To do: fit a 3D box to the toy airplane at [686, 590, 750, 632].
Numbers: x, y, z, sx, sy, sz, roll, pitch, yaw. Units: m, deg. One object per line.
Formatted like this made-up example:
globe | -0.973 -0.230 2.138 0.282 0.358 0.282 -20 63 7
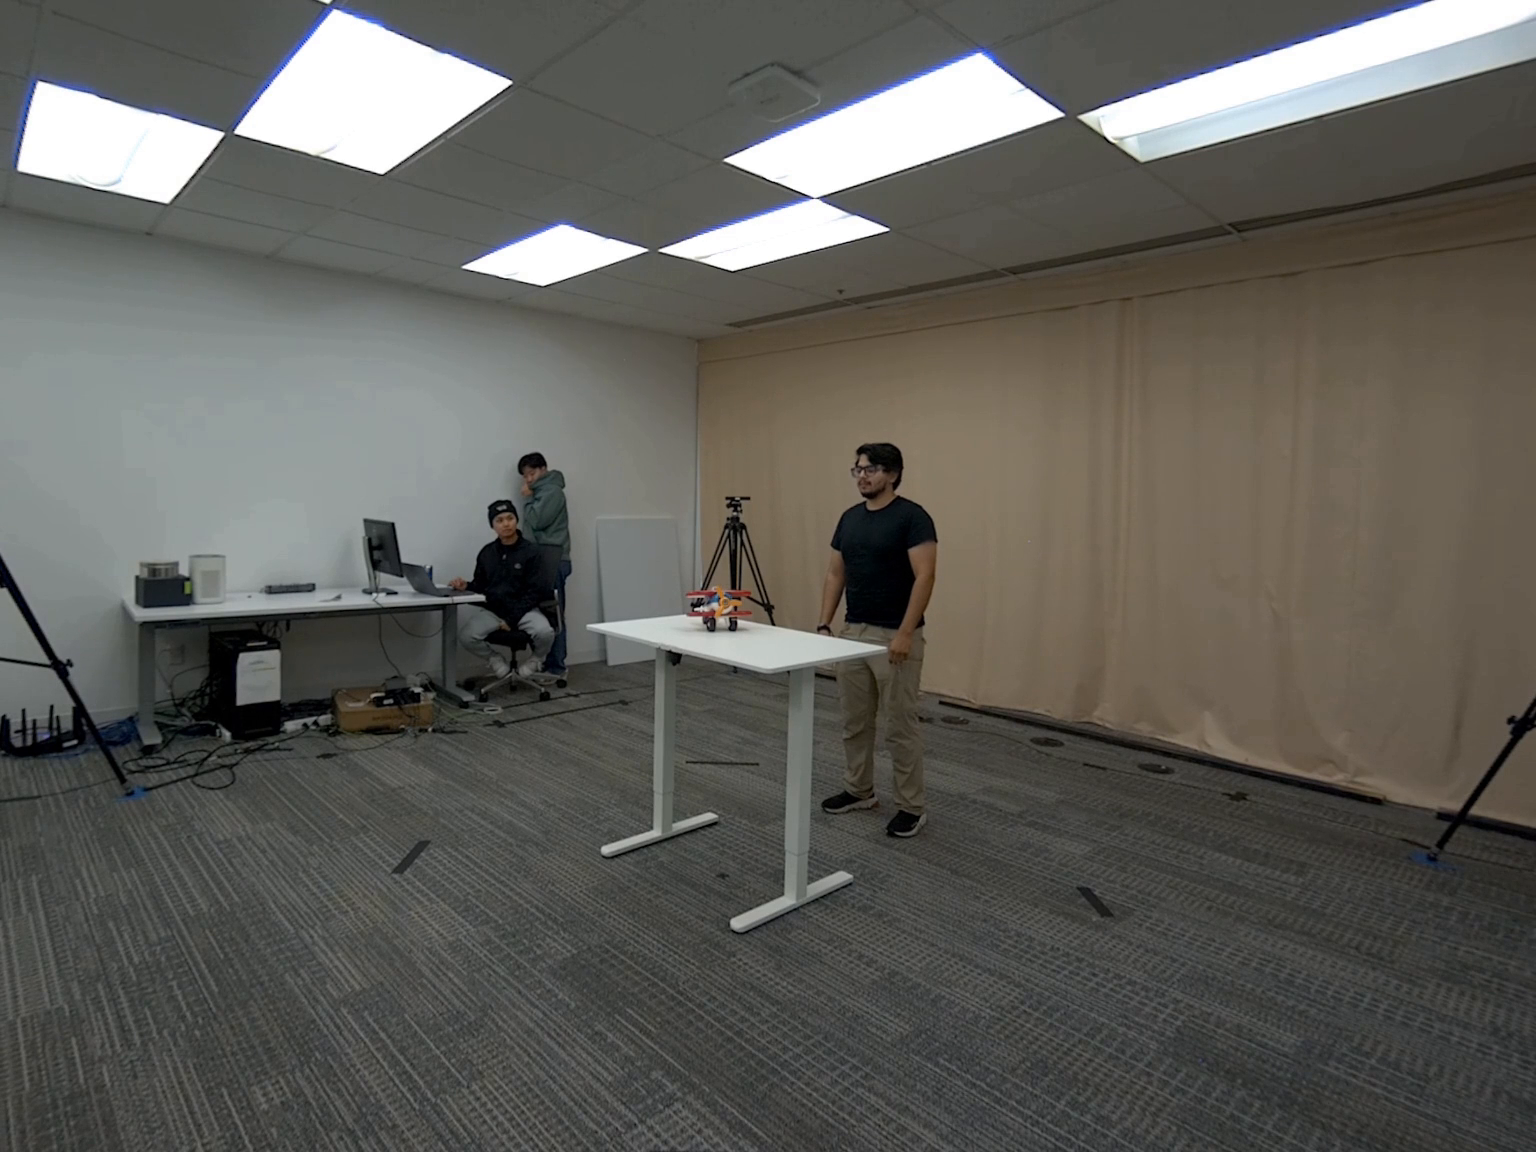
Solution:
toy airplane | -0.233 0.126 3.281 0.266 0.156 0.245 6 6 44
